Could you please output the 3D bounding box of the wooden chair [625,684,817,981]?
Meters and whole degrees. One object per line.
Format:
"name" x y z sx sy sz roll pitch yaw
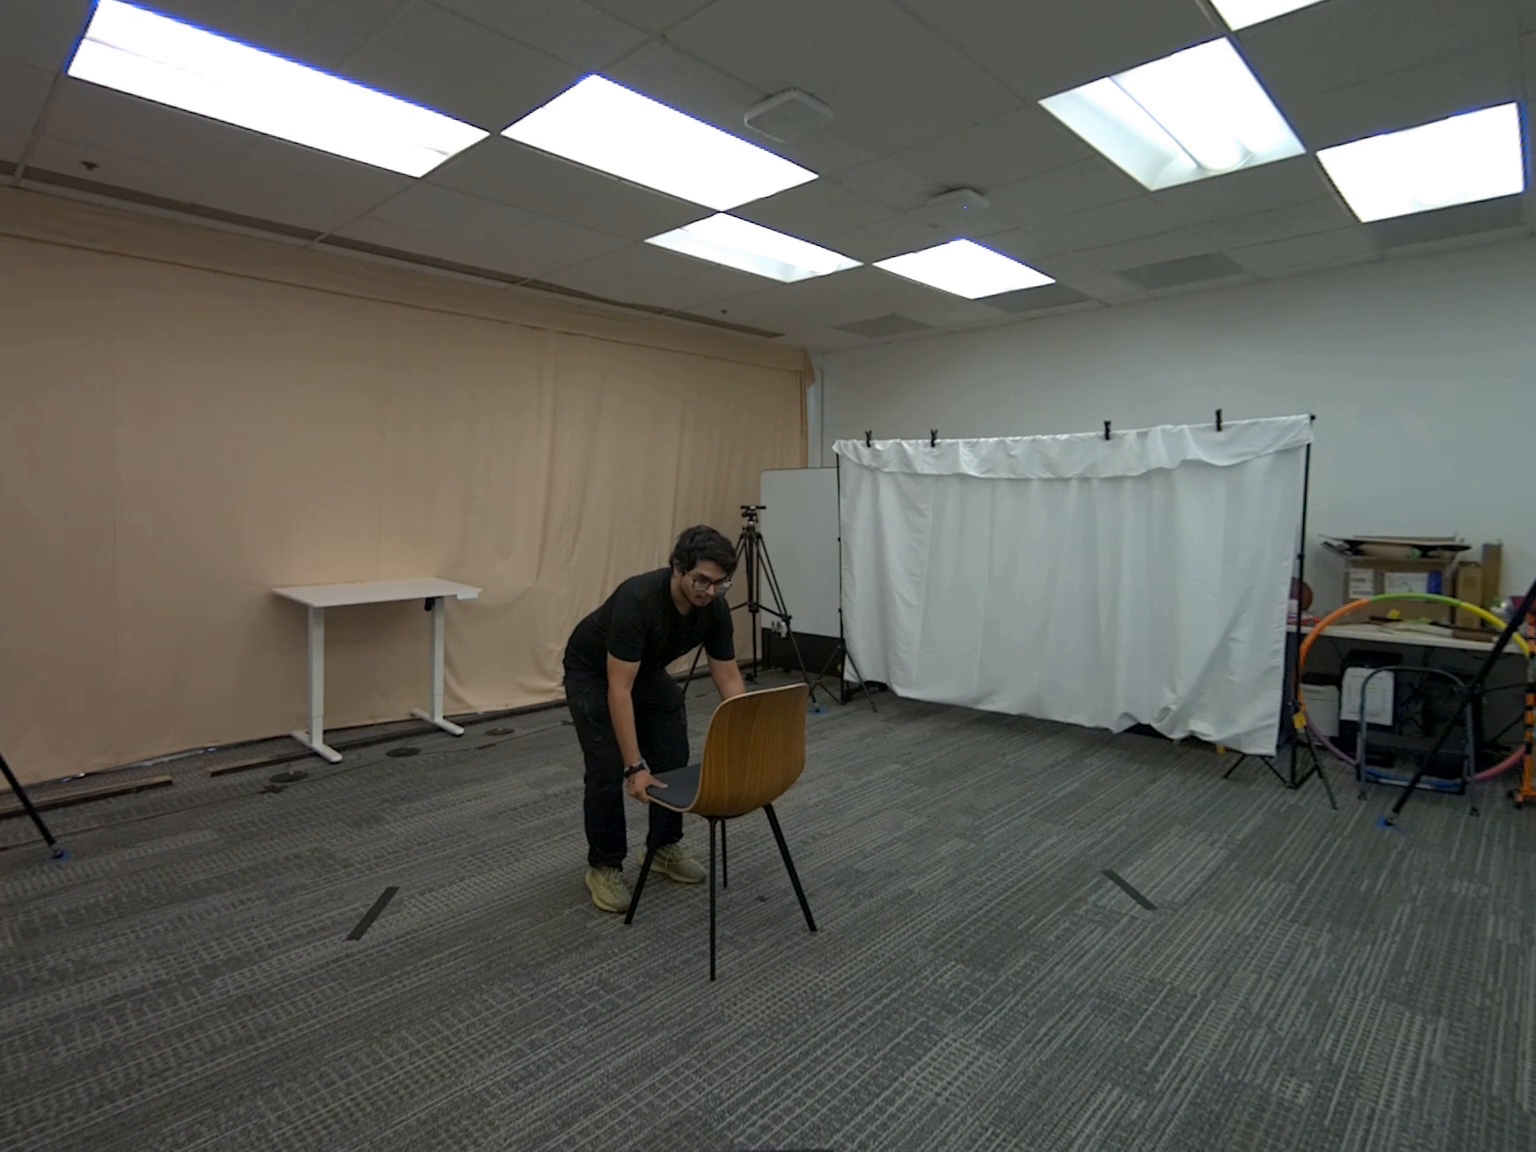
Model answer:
"wooden chair" -0.161 0.733 2.758 0.463 0.874 0.541 -3 9 -42
